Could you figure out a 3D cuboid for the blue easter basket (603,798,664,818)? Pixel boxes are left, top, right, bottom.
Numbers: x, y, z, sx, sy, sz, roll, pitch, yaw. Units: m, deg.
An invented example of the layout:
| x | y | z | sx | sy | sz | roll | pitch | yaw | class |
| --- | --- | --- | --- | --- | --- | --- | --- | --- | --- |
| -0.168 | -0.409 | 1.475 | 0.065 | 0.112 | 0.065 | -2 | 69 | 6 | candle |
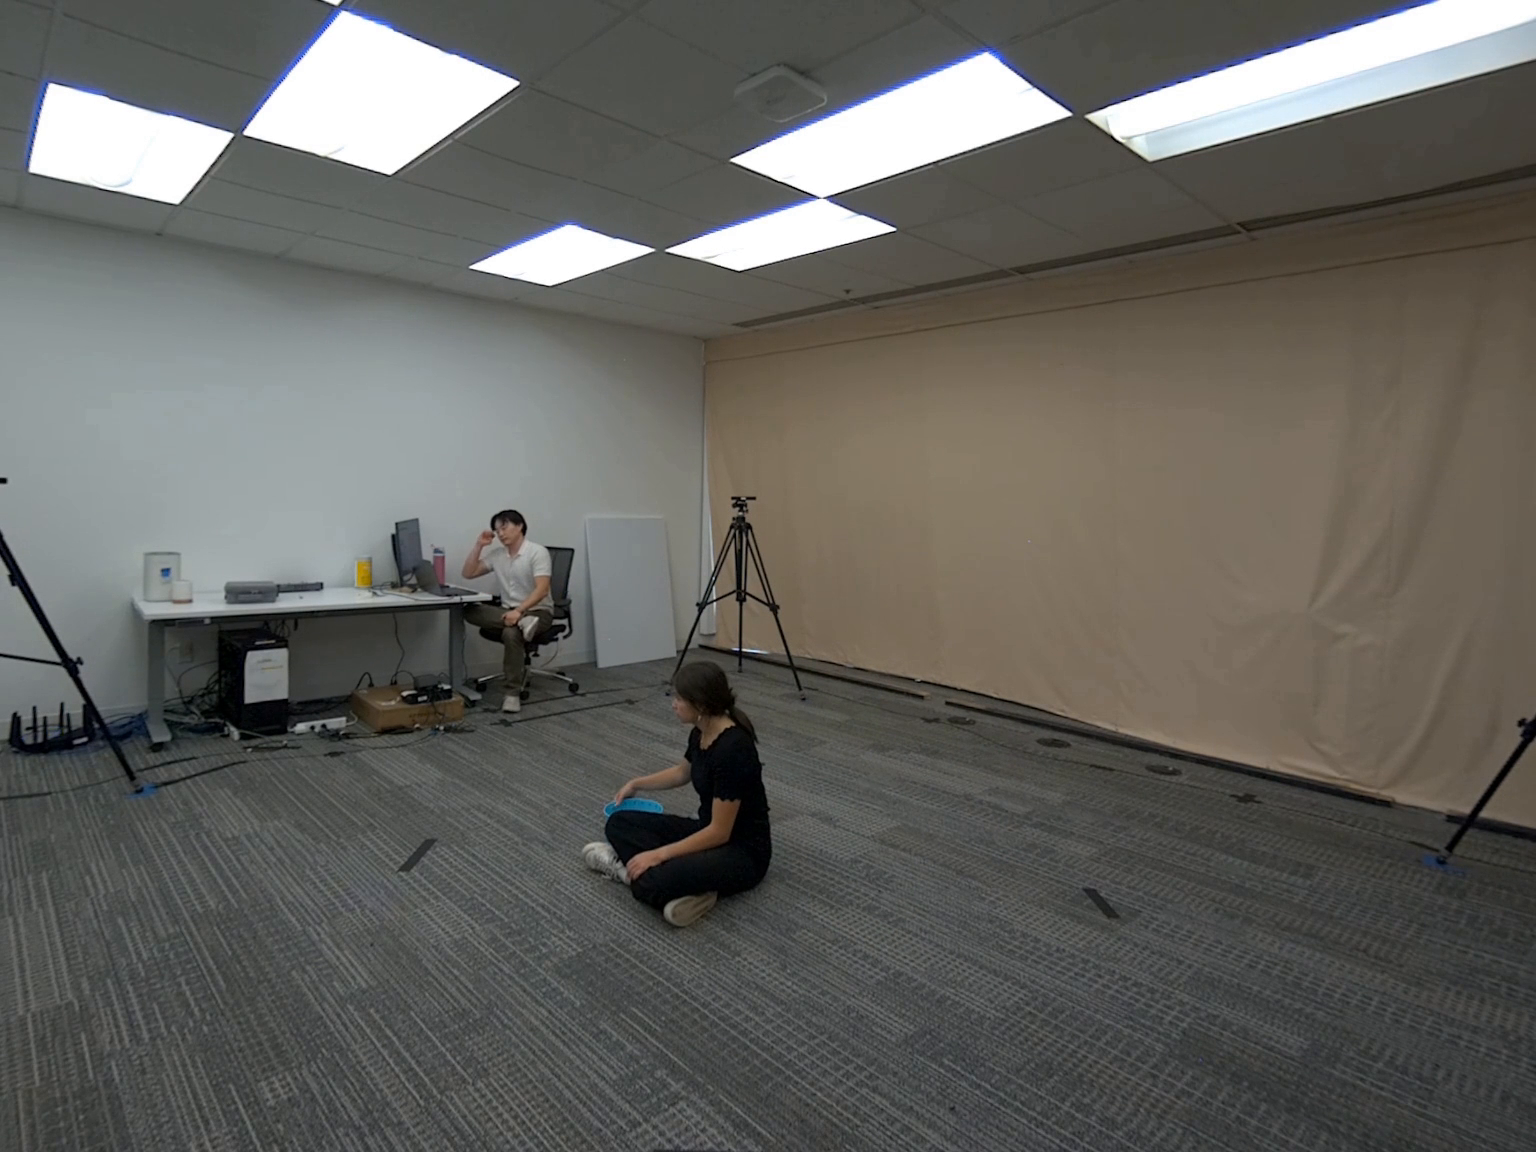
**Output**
| x | y | z | sx | sy | sz | roll | pitch | yaw | class |
| --- | --- | --- | --- | --- | --- | --- | --- | --- | --- |
| -0.539 | 0.992 | 3.349 | 0.243 | 0.155 | 0.244 | 5 | 4 | -2 | blue easter basket |
